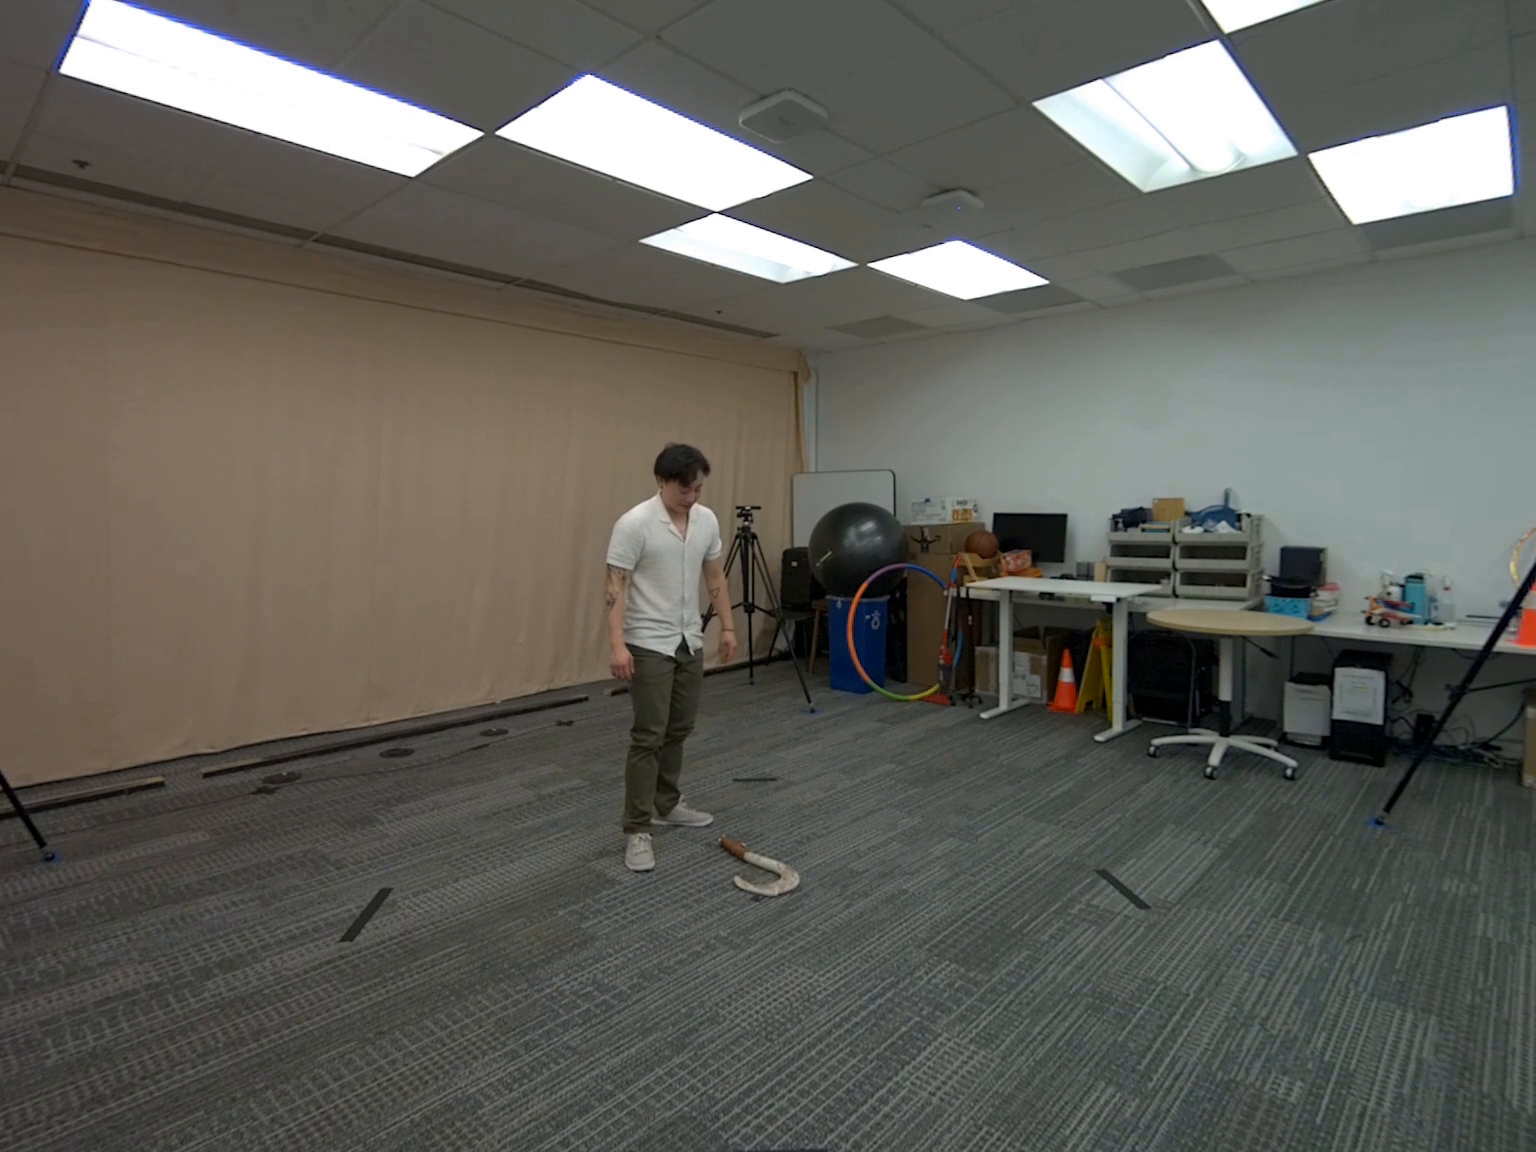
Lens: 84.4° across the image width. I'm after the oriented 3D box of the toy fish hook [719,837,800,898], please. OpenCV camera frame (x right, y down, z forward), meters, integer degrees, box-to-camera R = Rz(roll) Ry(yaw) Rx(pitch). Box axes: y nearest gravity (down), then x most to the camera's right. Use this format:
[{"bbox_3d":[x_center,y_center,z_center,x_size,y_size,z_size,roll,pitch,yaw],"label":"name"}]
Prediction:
[{"bbox_3d":[-0.083,1.101,3.217,0.218,0.048,0.522,-3,5,-35],"label":"toy fish hook"}]
